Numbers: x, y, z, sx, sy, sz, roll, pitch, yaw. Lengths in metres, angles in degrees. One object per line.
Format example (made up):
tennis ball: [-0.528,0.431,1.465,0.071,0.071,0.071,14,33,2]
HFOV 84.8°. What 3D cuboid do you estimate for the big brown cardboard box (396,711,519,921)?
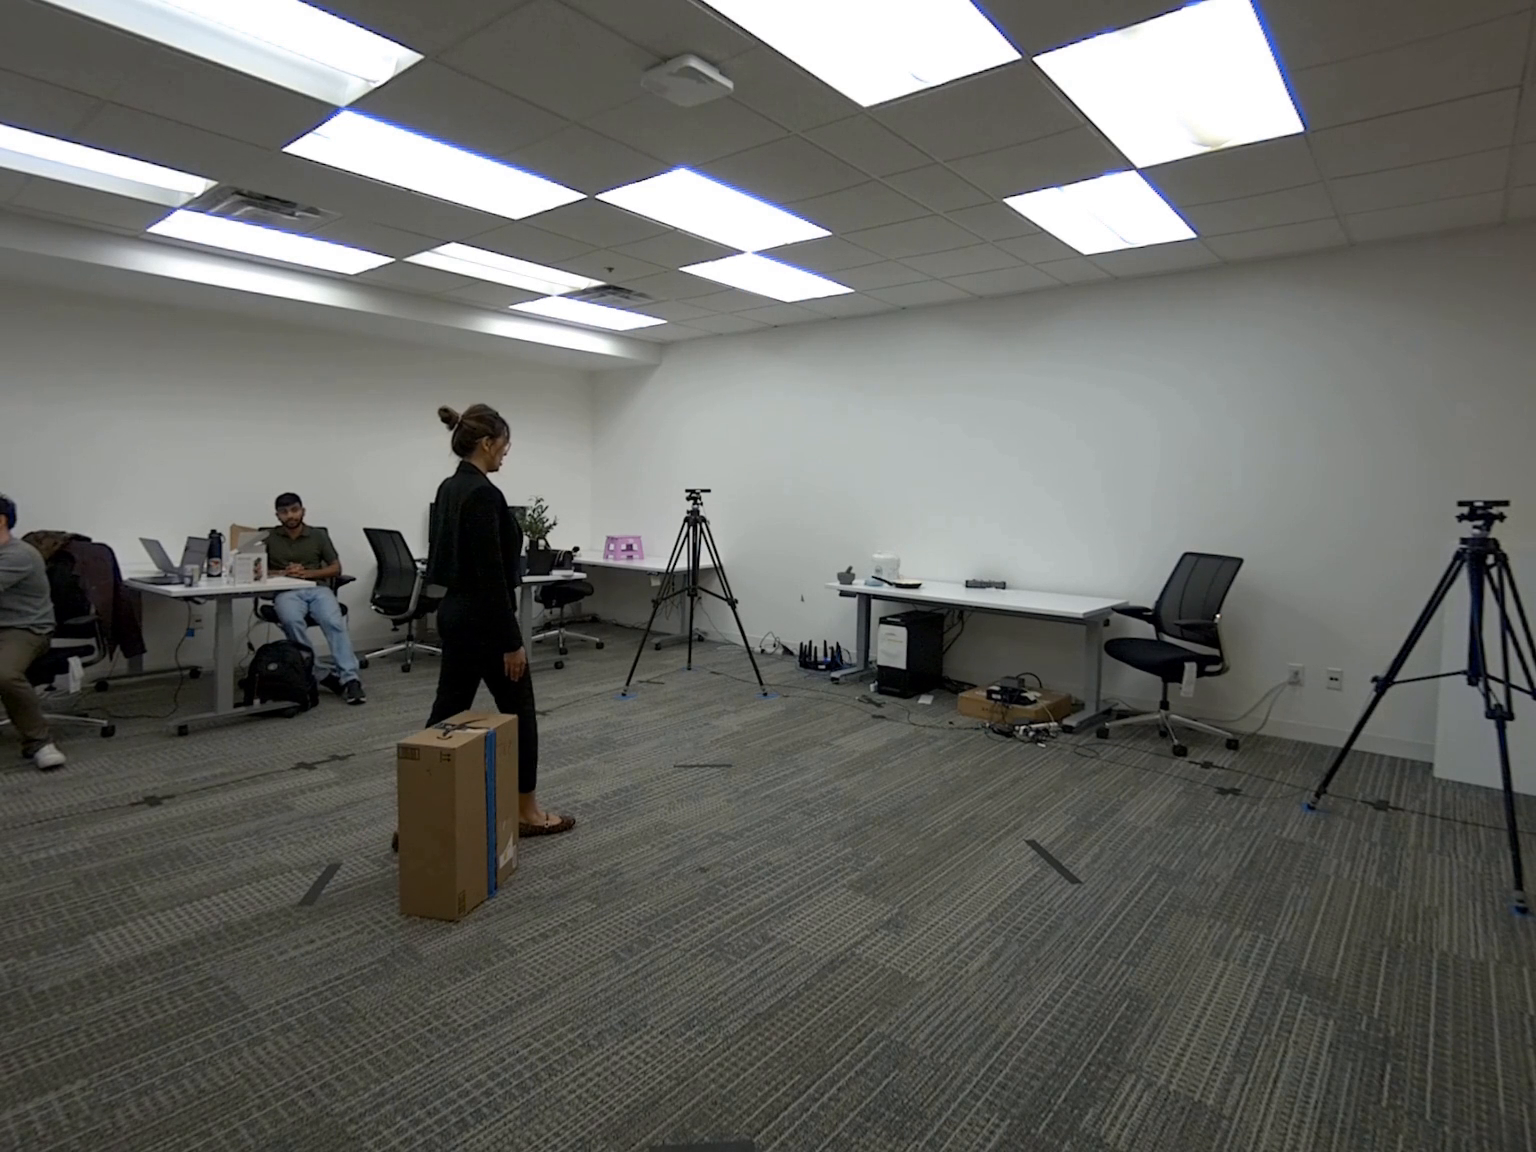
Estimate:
big brown cardboard box: [-1.058,0.798,2.909,0.236,0.586,0.413,1,5,12]
